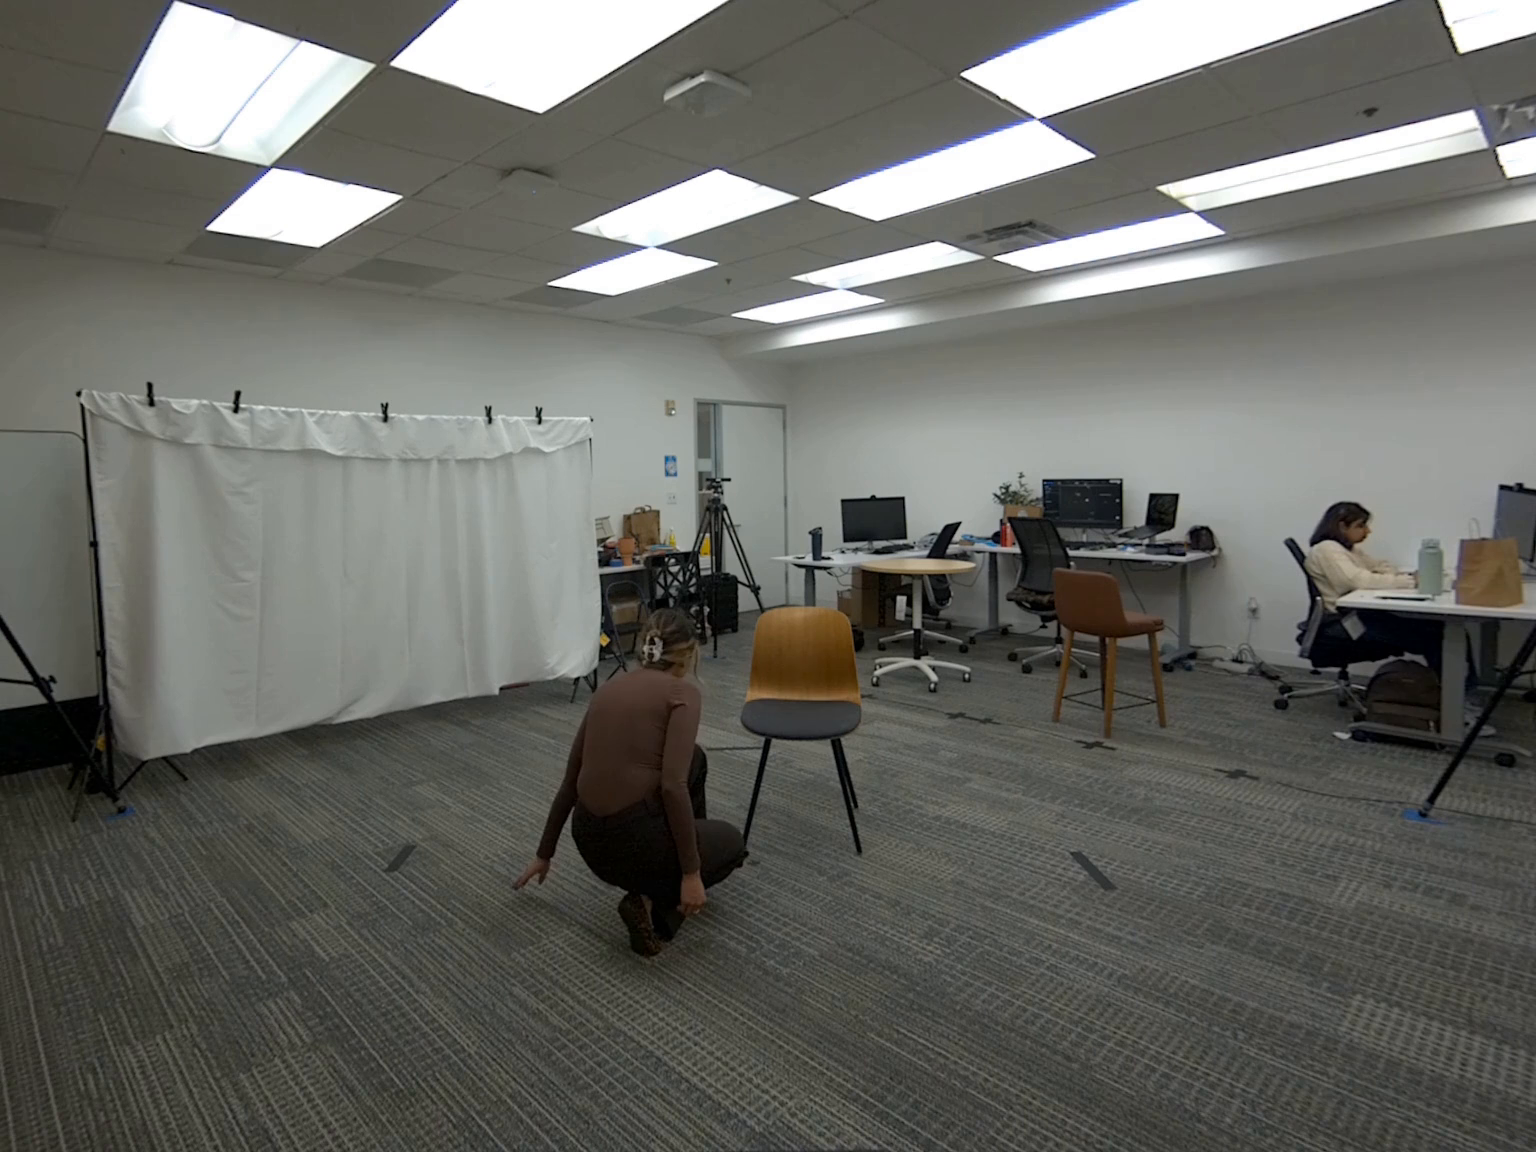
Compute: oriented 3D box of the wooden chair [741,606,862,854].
[{"bbox_3d":[0.140,0.580,3.379,0.481,0.878,0.519,0,0,6],"label":"wooden chair"}]
